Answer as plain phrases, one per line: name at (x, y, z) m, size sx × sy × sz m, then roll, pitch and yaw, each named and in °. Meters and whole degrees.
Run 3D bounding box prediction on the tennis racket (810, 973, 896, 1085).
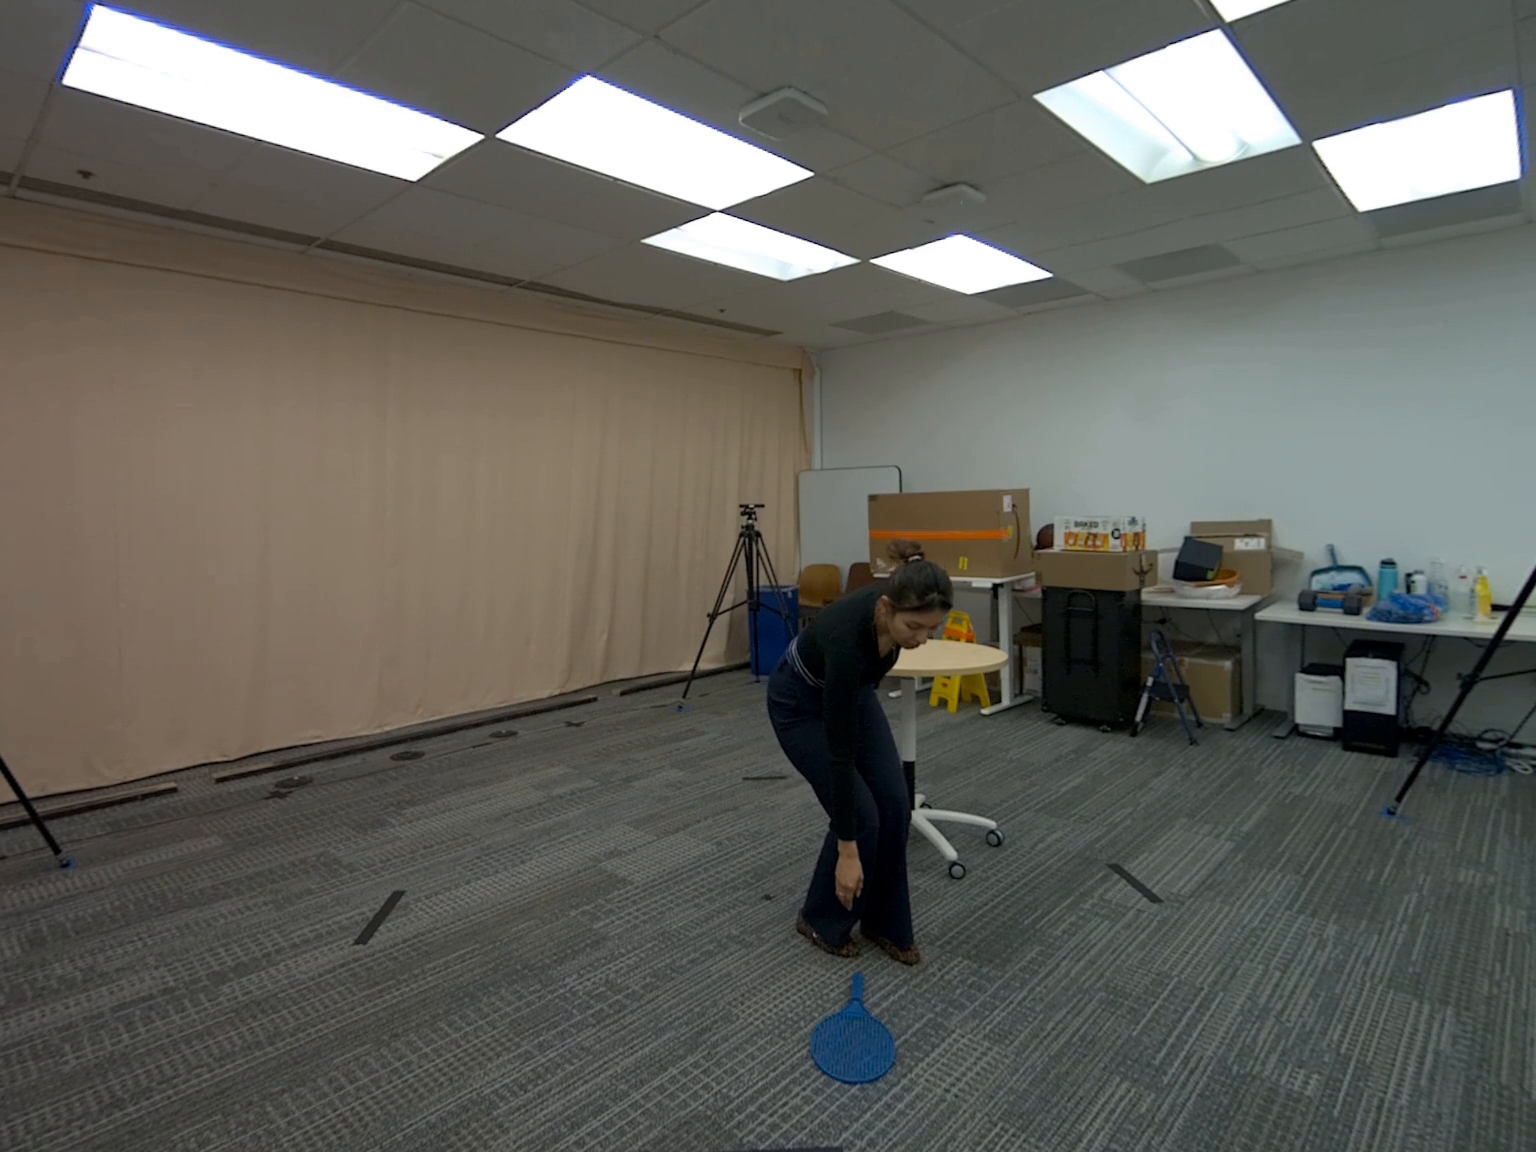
tennis racket at (0.226, 1.185, 2.230) m, size 0.216 × 0.031 × 0.430 m, roll 0°, pitch 6°, yaw 8°
